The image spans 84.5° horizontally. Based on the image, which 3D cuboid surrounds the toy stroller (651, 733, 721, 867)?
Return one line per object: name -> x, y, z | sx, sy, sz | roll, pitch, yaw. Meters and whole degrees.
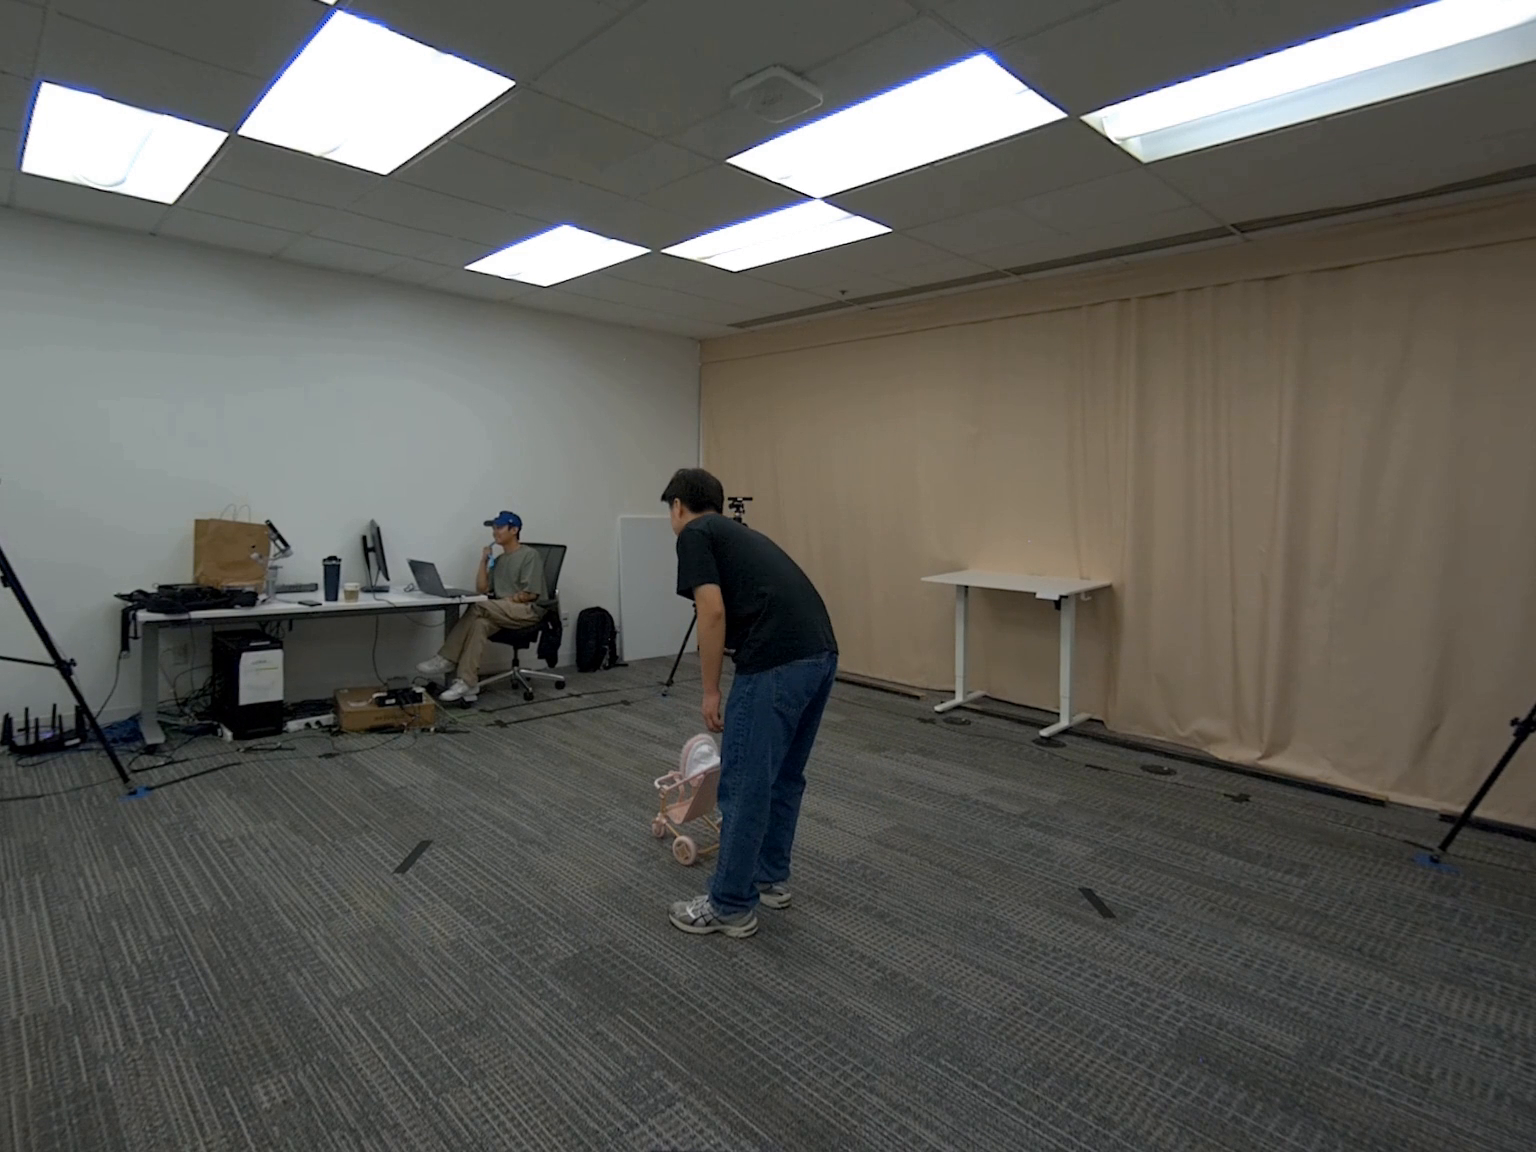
toy stroller -> -0.295, 0.857, 3.318 | 0.352, 0.531, 0.275 | 25, 17, 39
